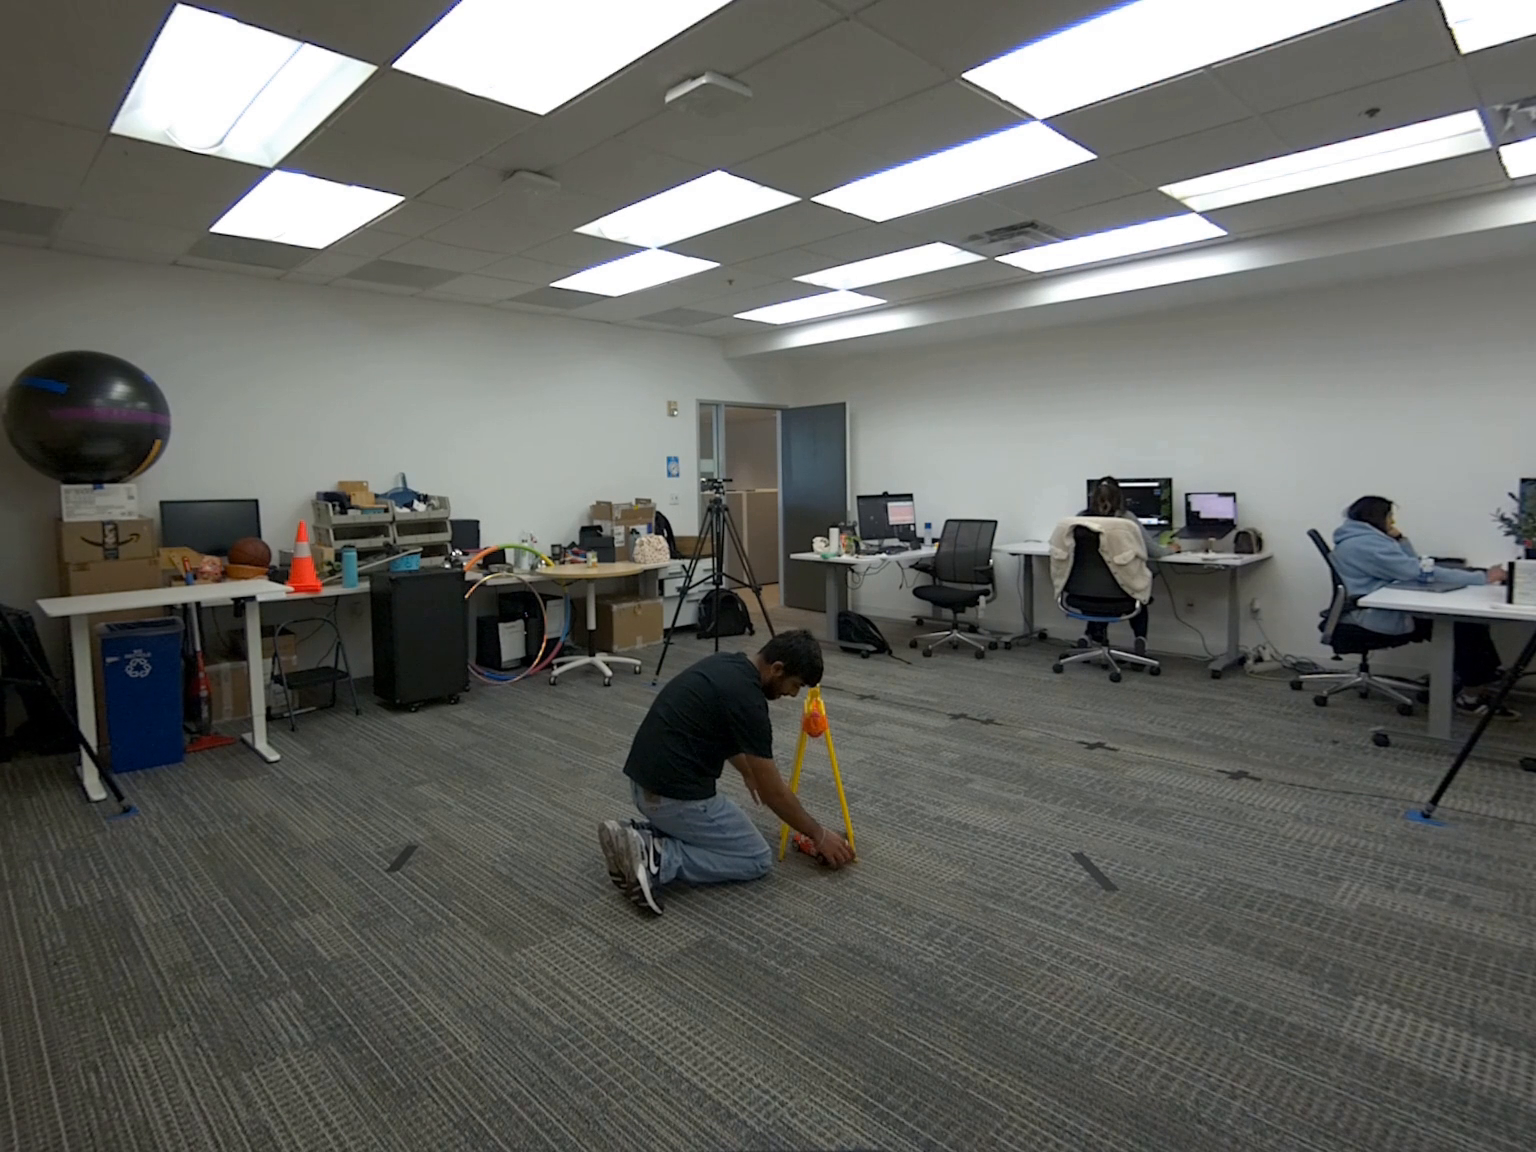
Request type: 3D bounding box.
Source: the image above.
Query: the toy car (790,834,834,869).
[{"bbox_3d":[0.201,1.000,3.141,0.127,0.083,0.260,-3,-2,-34],"label":"toy car"}]
